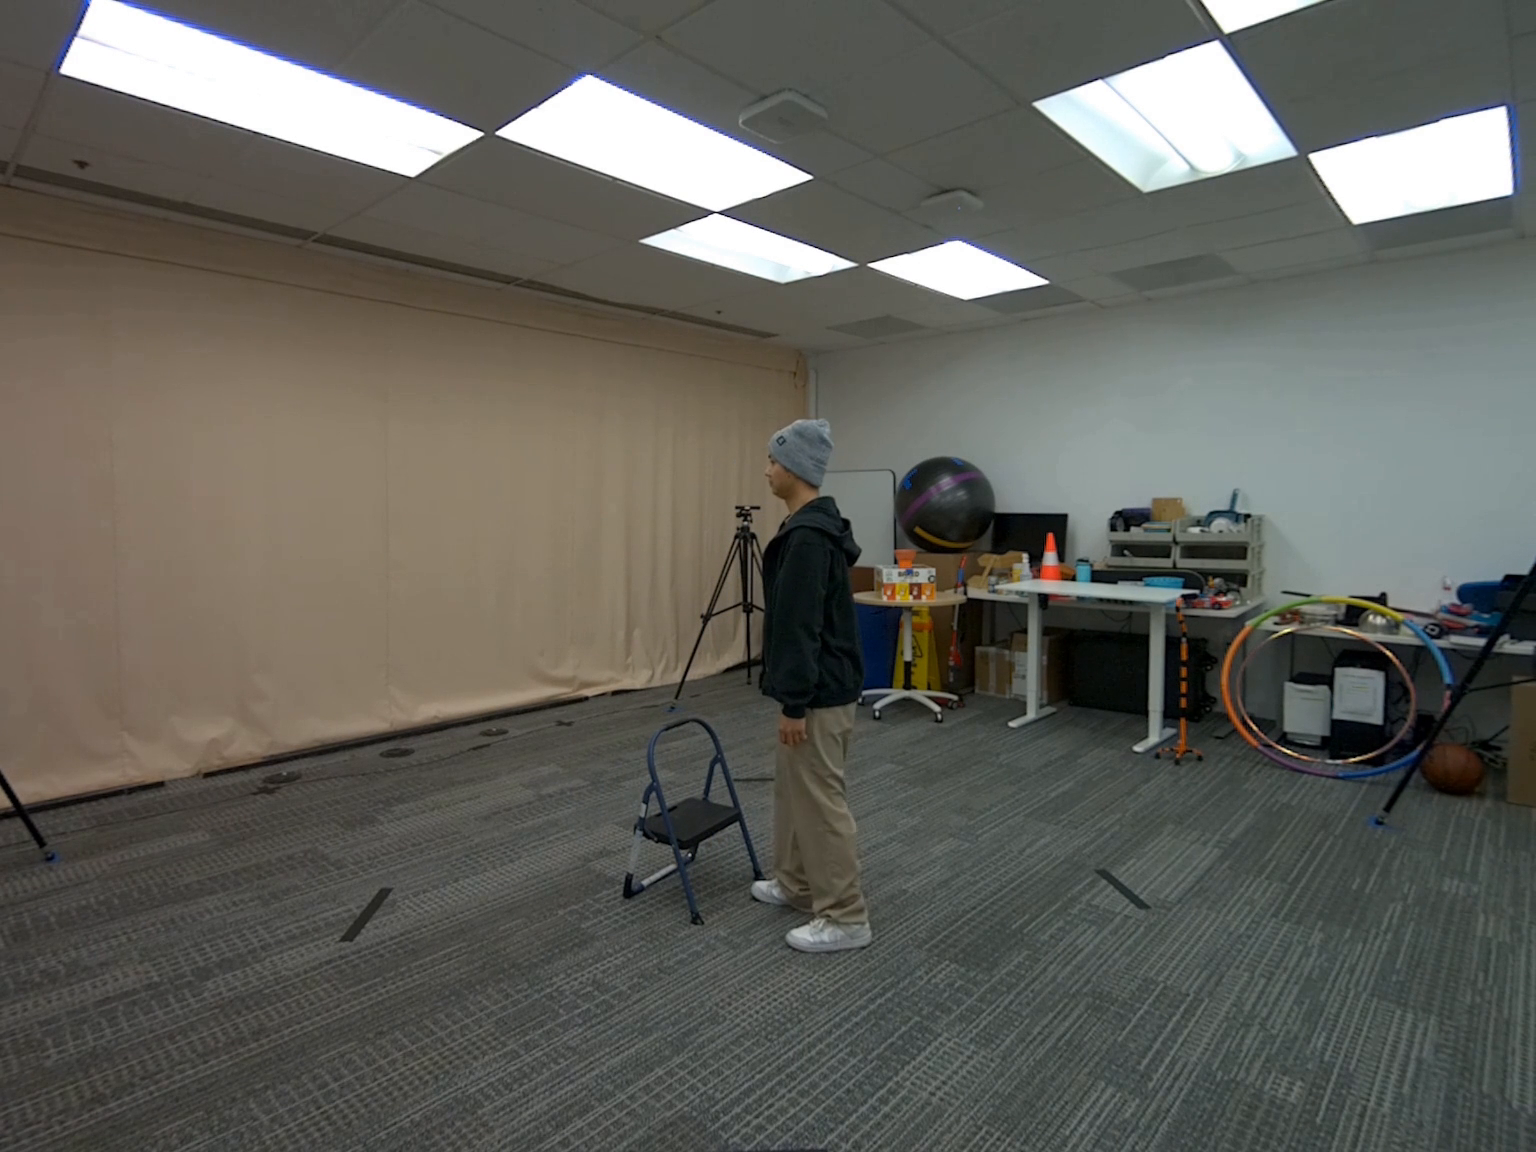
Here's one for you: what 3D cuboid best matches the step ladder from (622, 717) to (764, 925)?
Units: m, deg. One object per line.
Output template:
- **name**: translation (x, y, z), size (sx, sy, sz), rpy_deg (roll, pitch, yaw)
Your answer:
- **step ladder**: translation (-0.268, 0.838, 3.054), size (0.360, 0.605, 0.418), rpy_deg (2, 4, 33)
